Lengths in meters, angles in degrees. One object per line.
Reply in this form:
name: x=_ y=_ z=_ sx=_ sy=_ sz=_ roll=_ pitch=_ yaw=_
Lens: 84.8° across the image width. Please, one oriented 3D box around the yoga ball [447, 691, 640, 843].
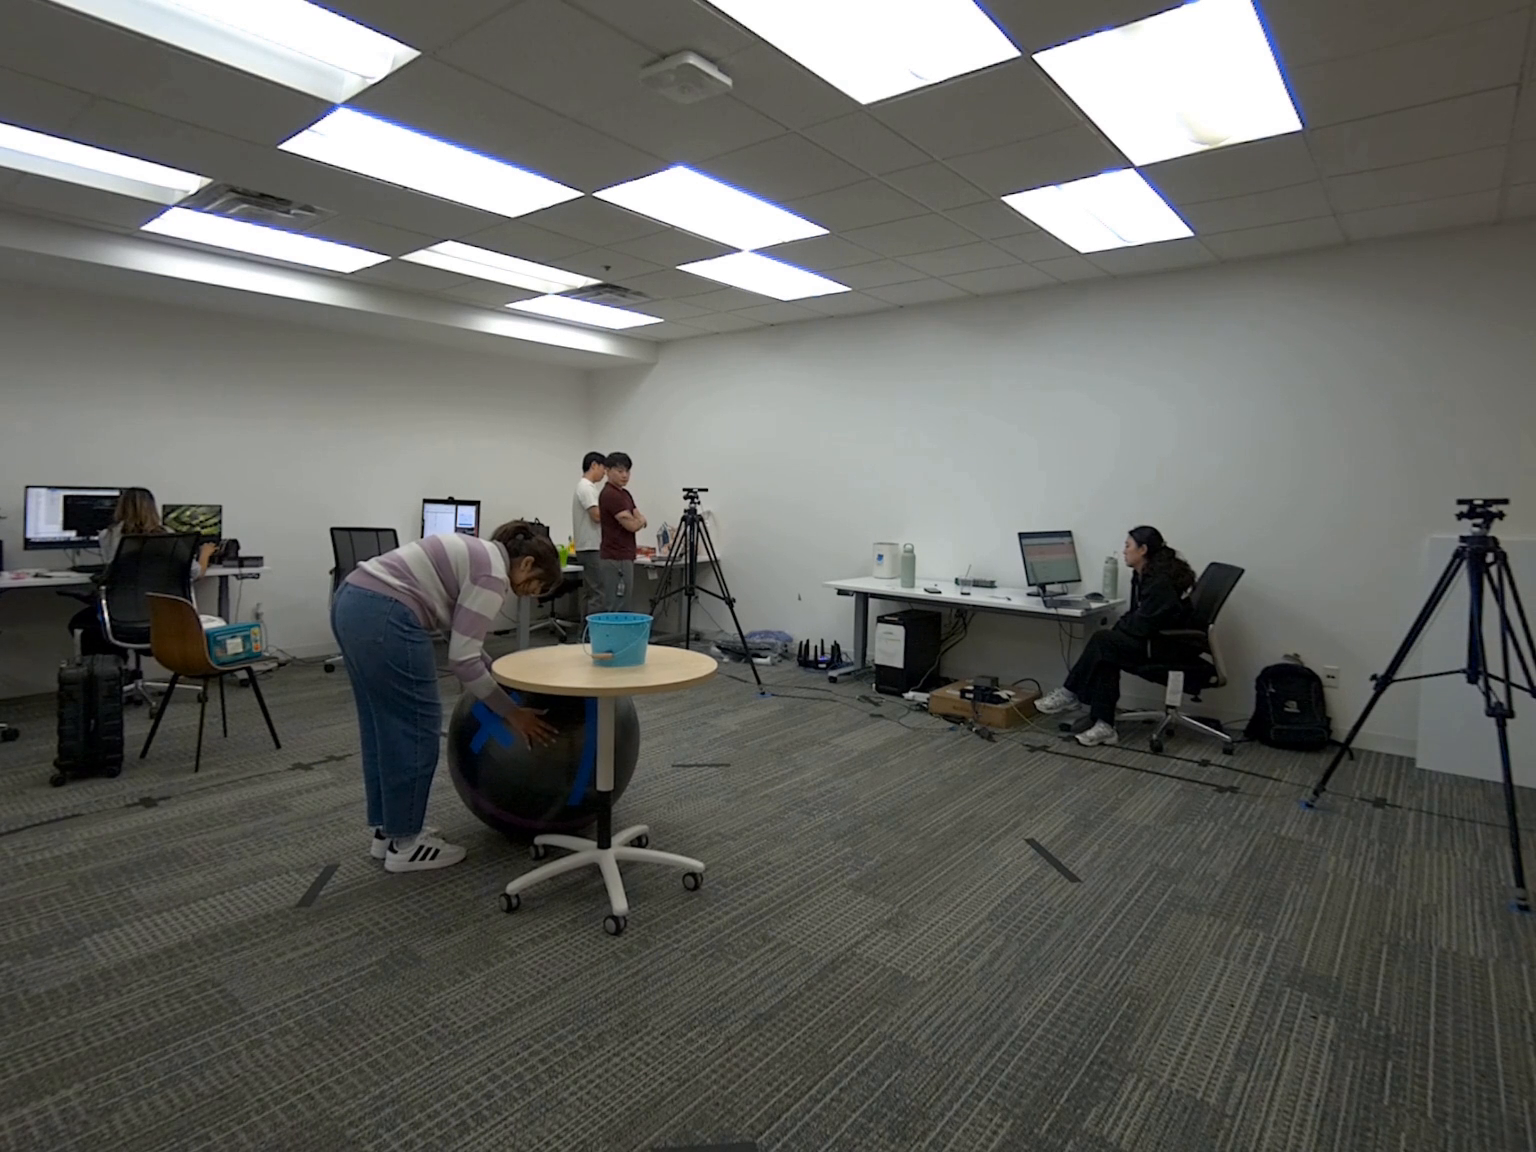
yoga ball: x=-0.913 y=0.662 z=3.442 sx=0.757 sy=0.755 sz=0.762 roll=1 pitch=4 yaw=-2
